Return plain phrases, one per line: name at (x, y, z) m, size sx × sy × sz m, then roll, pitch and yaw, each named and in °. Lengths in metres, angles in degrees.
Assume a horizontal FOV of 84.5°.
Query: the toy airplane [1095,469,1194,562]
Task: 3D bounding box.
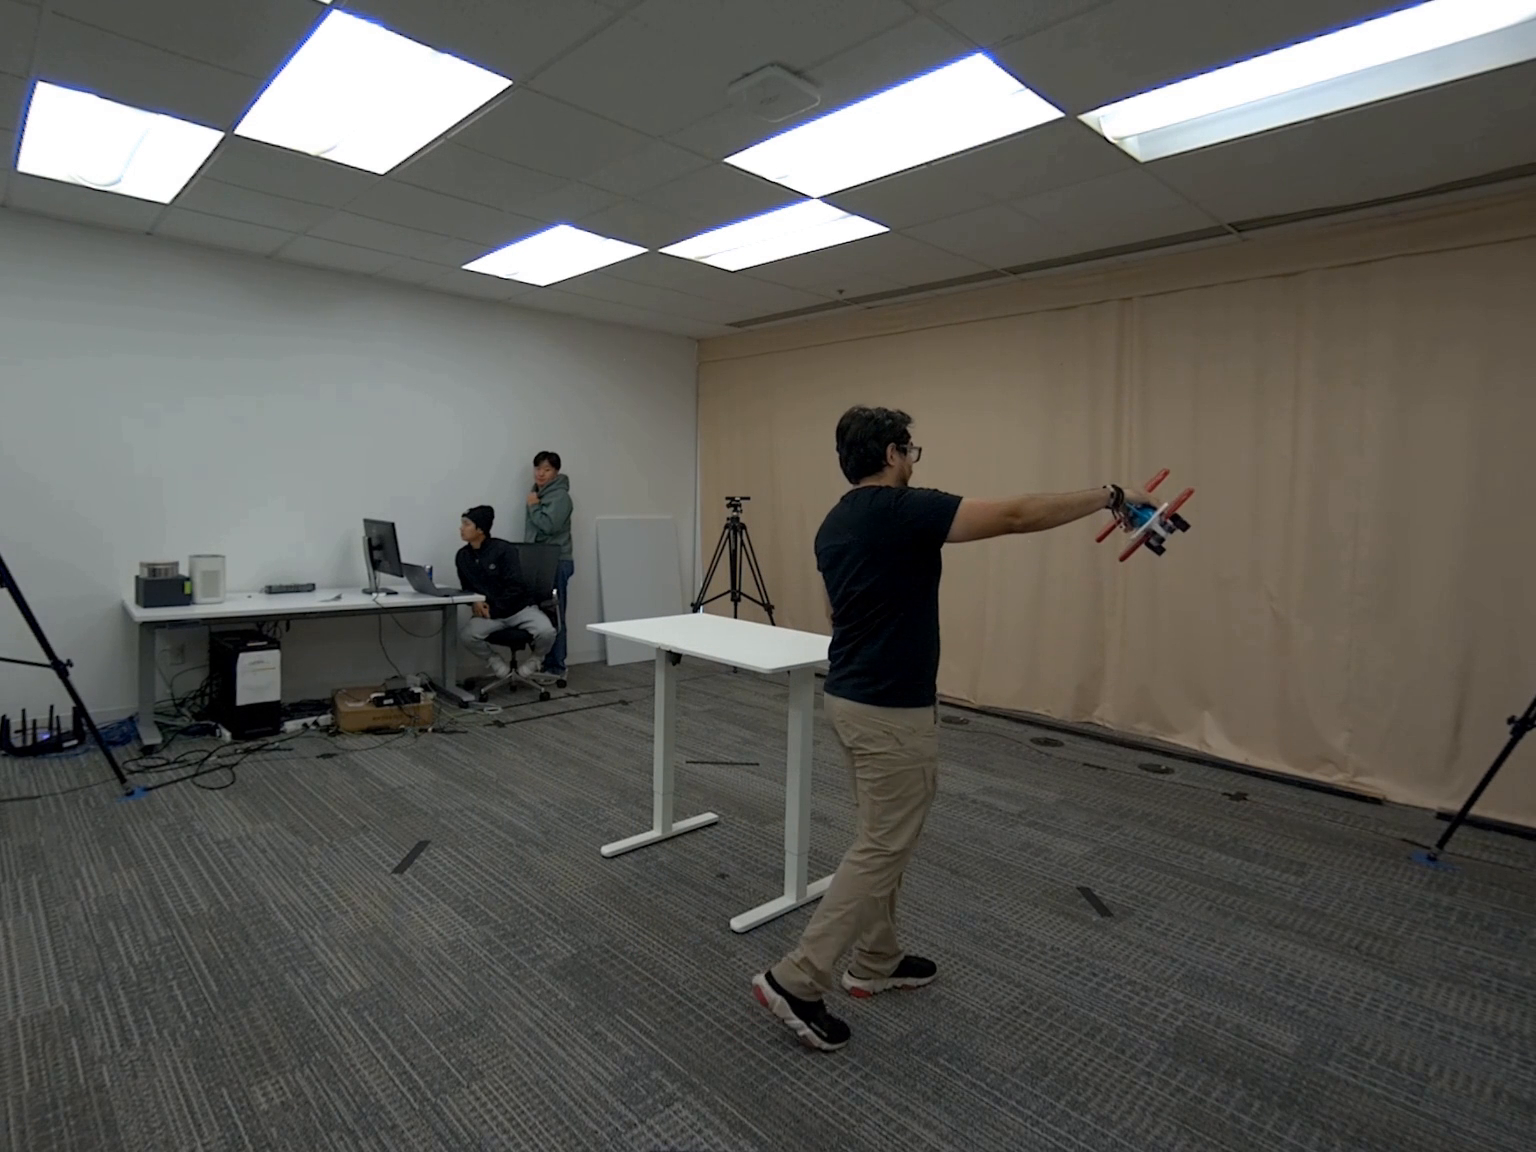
toy airplane at (0.992, -0.158, 2.170) m, size 0.160 × 0.251 × 0.253 m, roll 46°, pitch -9°, yaw 23°
